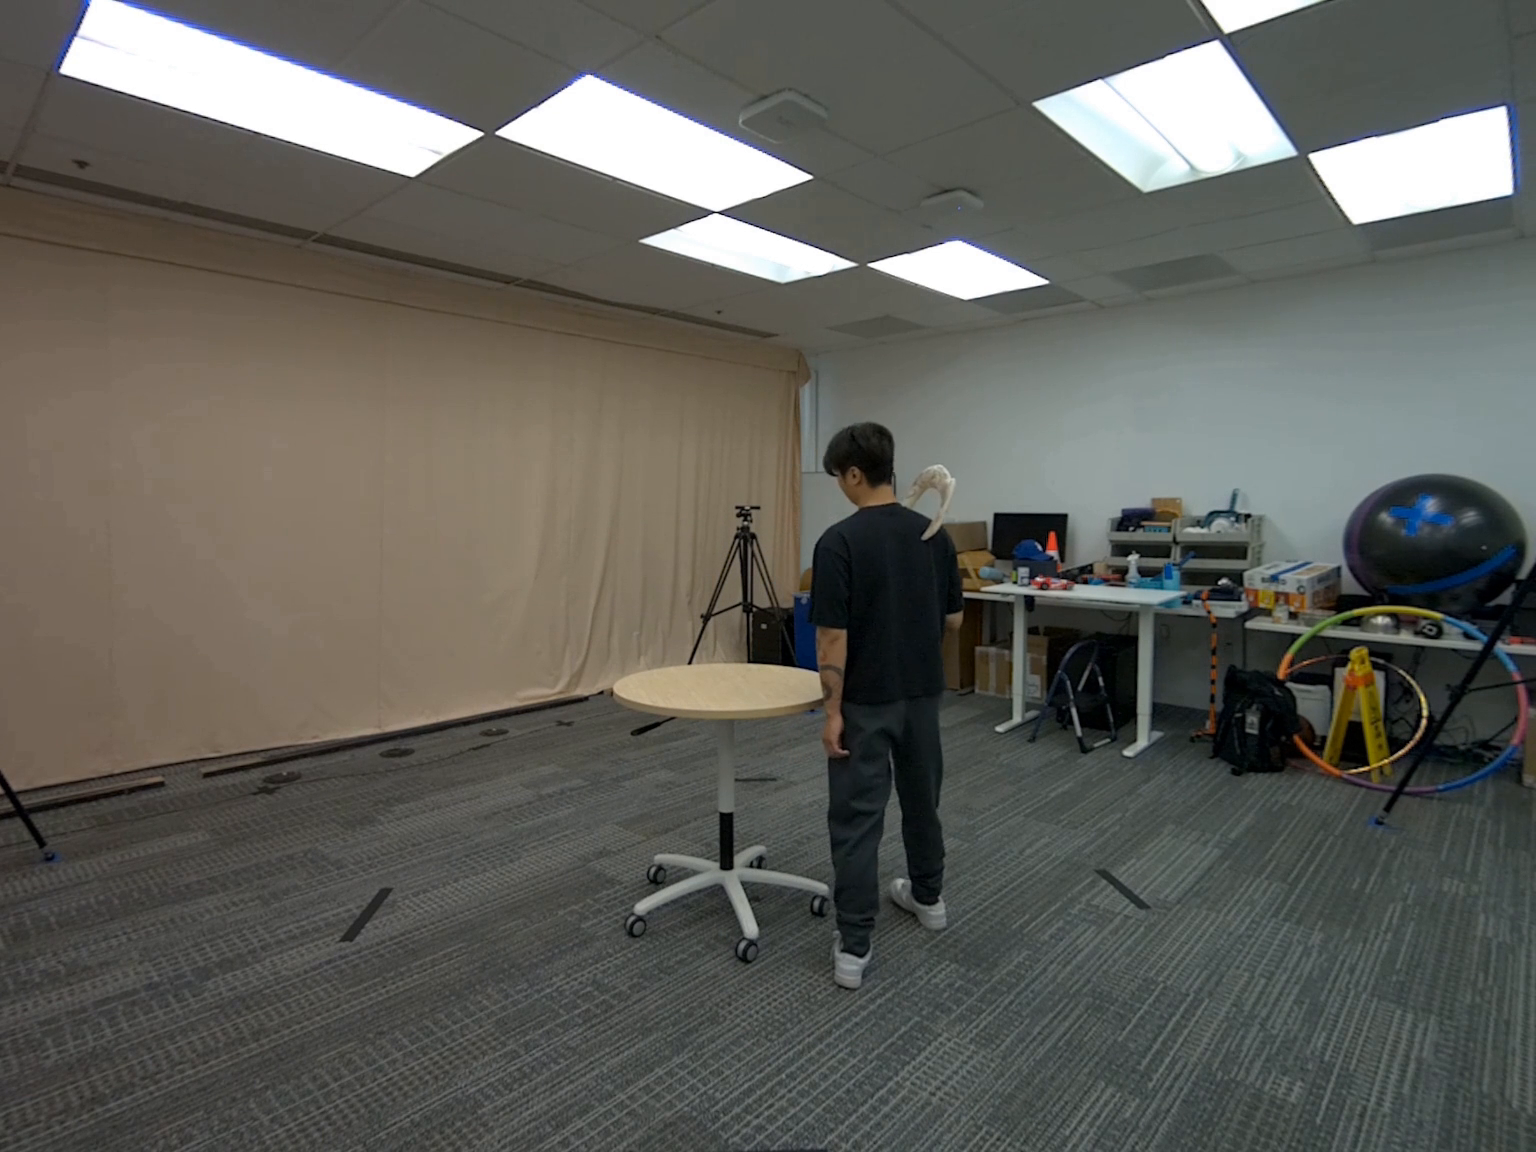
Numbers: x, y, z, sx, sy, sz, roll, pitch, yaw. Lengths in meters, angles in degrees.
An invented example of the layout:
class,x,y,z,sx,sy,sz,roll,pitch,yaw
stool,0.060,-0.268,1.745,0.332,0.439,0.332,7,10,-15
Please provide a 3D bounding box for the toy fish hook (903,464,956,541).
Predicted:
class,x,y,z,sx,sy,sz,roll,pitch,yaw
toy fish hook,0.431,-0.123,2.633,0.047,0.506,0.230,19,29,-23
